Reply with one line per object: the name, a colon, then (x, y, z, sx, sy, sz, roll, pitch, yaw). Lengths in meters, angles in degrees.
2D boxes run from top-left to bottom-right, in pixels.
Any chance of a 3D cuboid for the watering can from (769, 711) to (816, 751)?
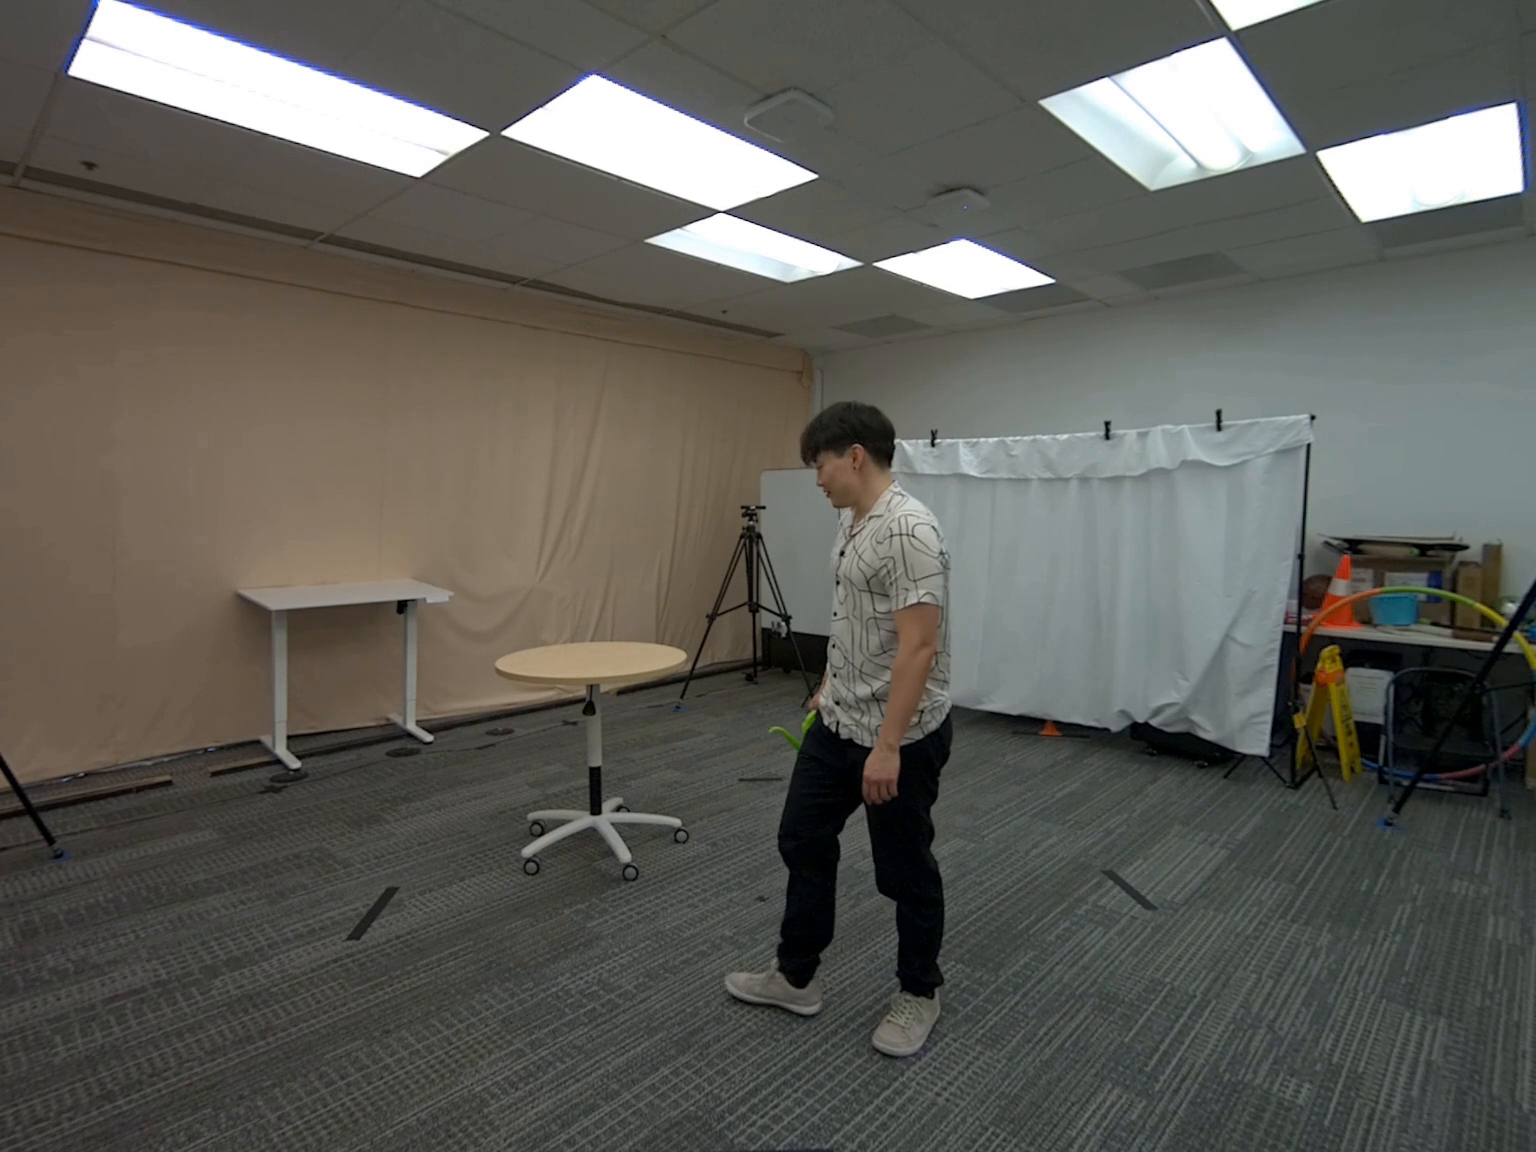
watering can: (0.125, 0.489, 2.509, 0.274, 0.176, 0.100, -11, 7, -17)
